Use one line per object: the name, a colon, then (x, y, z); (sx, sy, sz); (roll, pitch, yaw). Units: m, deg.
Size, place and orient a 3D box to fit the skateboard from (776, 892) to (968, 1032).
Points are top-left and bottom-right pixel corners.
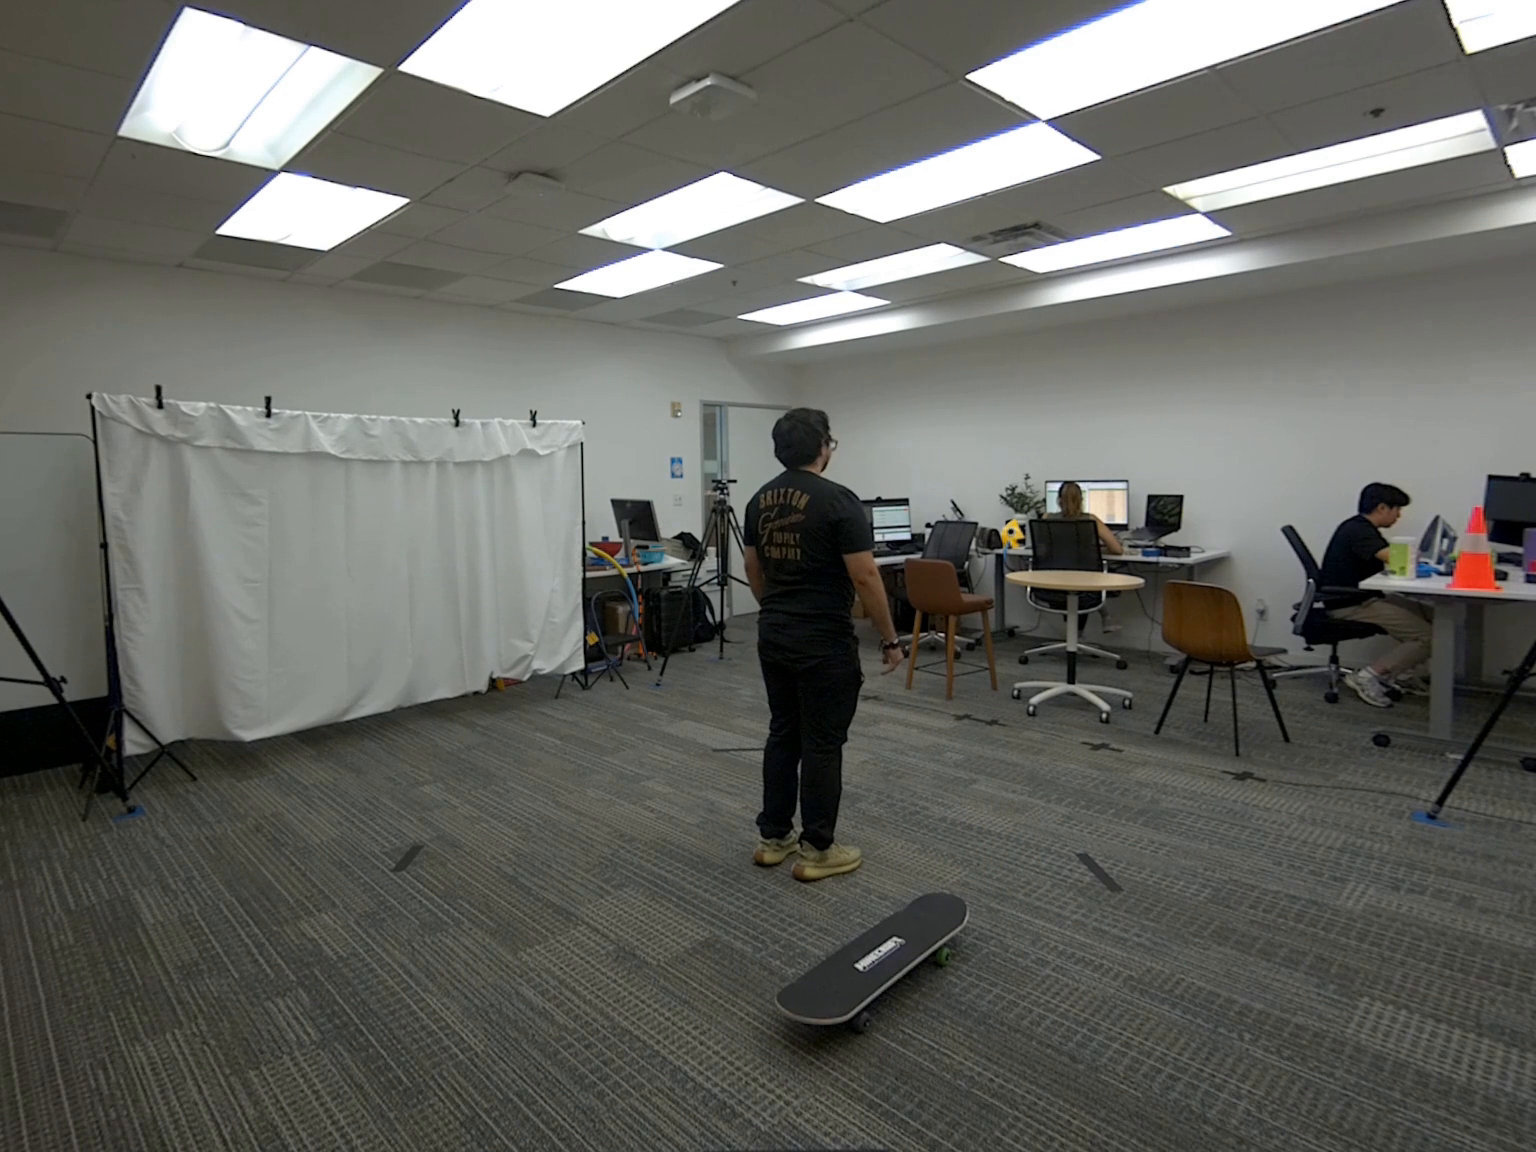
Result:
skateboard: (0.320, 1.076, 2.352); (0.199, 0.110, 0.766); (2, 7, 42)
